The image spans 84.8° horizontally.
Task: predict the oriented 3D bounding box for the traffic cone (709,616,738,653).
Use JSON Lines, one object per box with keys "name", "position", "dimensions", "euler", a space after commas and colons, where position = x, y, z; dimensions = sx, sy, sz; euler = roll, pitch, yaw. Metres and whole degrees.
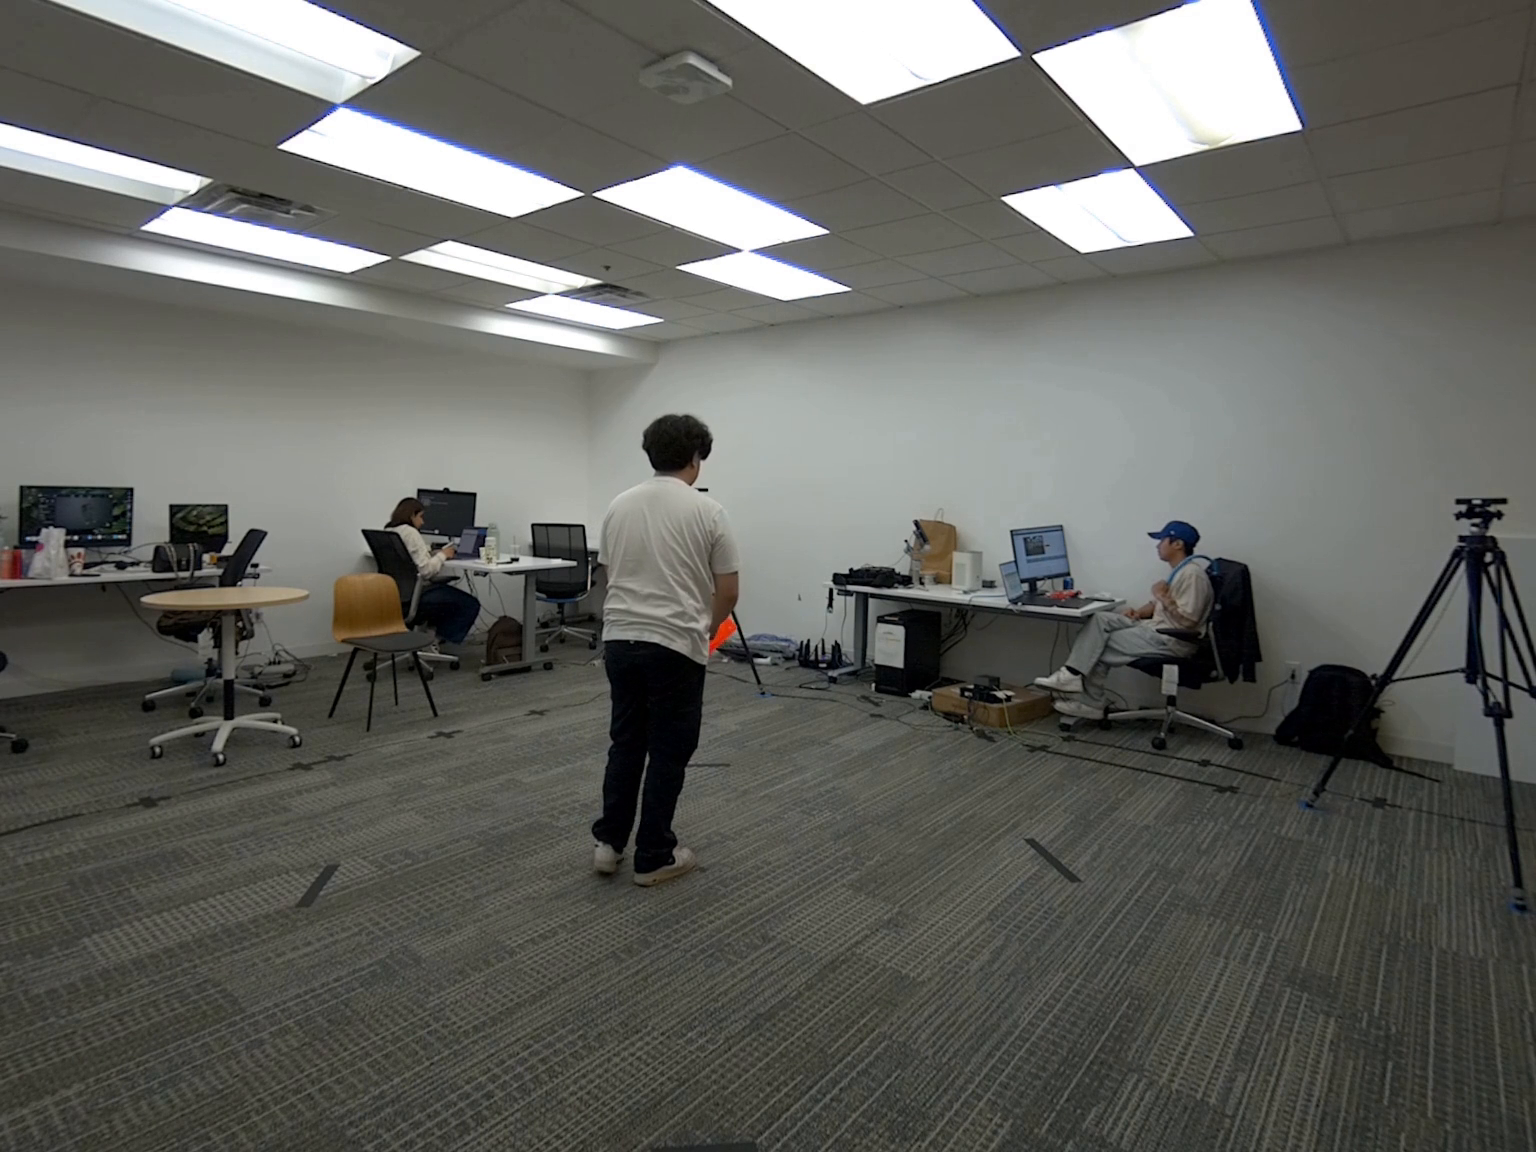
{"name": "traffic cone", "position": [-0.275, 0.215, 3.355], "dimensions": [0.203, 0.205, 0.383], "euler": [-43, 1, 2]}
